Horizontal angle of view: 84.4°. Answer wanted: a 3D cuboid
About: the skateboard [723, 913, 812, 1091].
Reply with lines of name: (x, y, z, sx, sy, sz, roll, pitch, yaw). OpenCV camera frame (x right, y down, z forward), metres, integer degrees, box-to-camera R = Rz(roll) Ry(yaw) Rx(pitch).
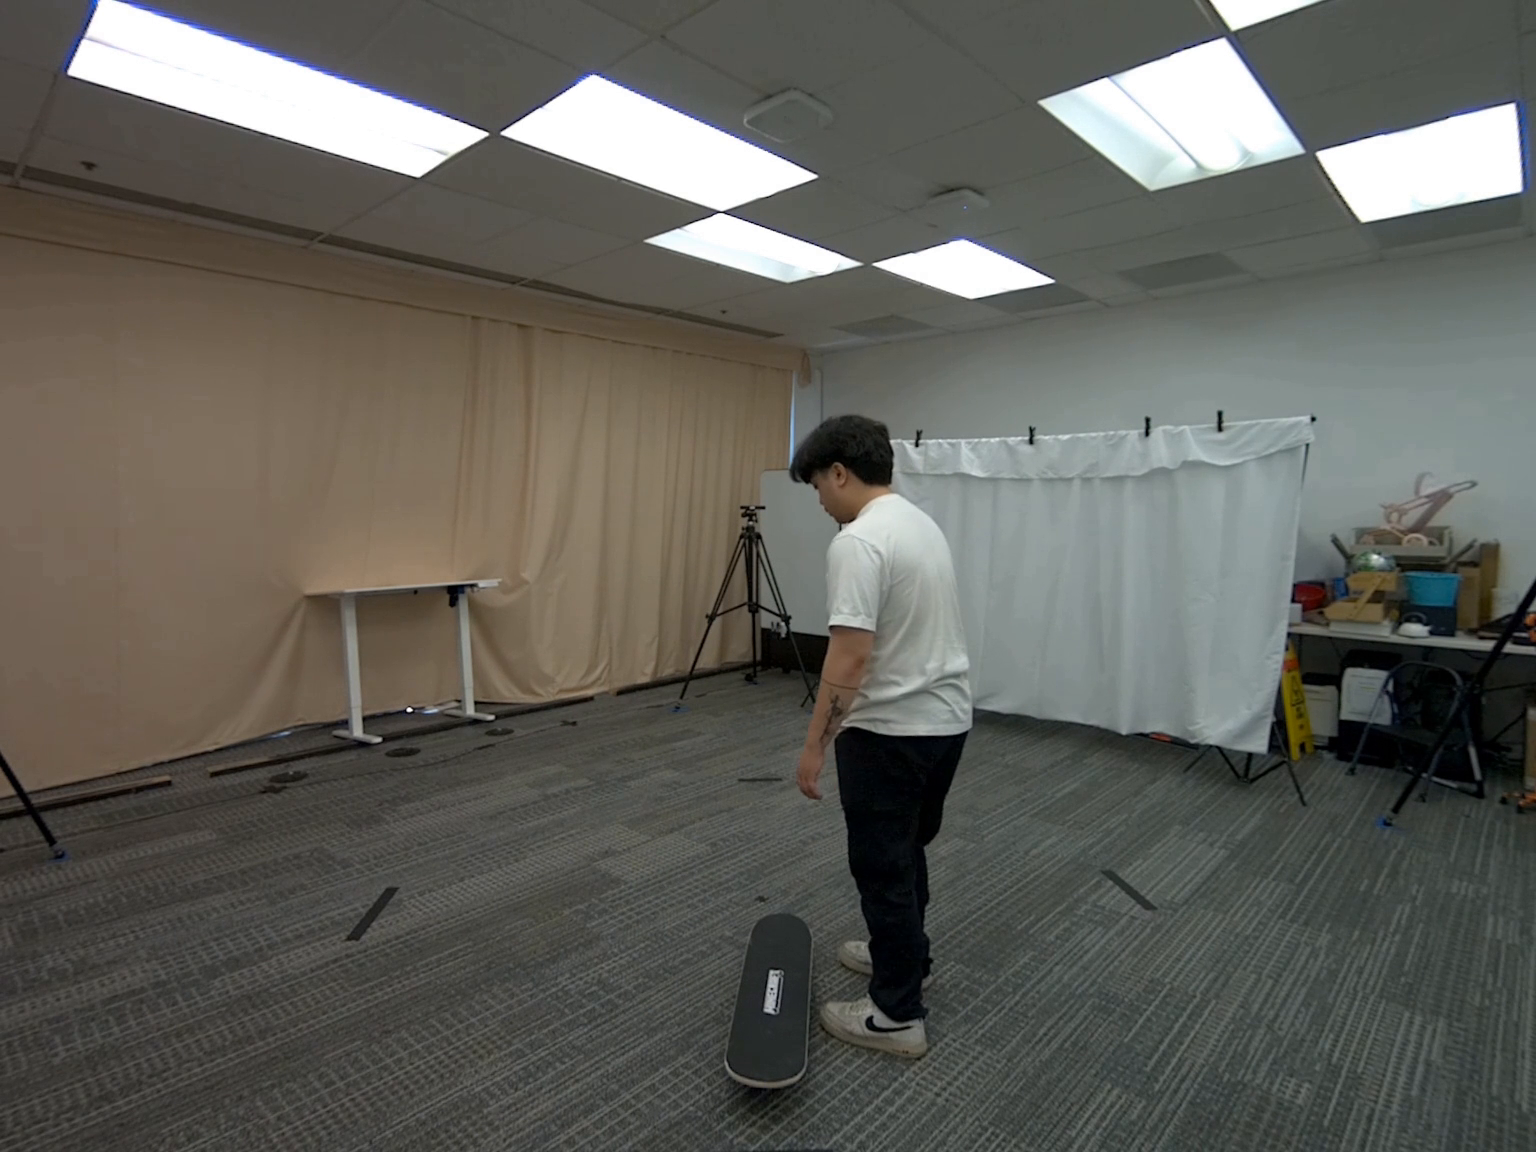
skateboard: (0.027, 1.146, 2.269, 0.195, 0.110, 0.781, 1, 5, 6)
